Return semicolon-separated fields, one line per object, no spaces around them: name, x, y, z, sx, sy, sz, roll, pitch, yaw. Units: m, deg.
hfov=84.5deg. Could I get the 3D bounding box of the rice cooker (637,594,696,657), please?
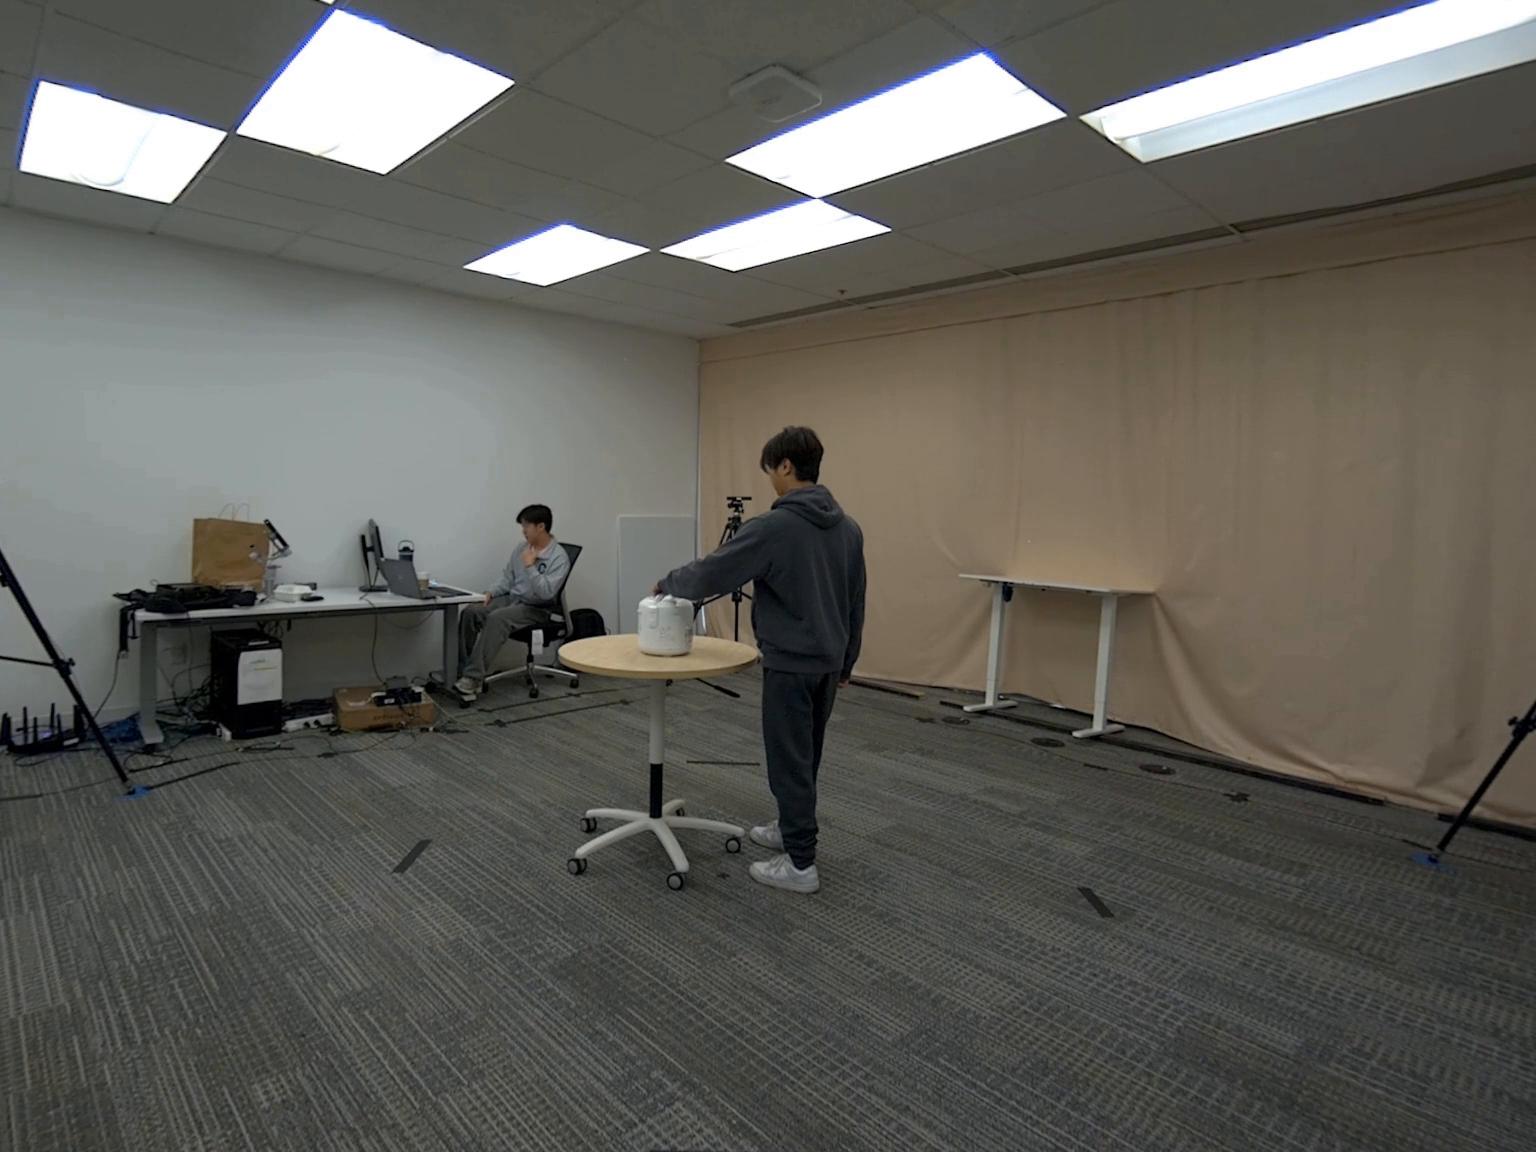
rice cooker;-0.390;0.177;3.216;0.221;0.232;0.217;3;5;24
